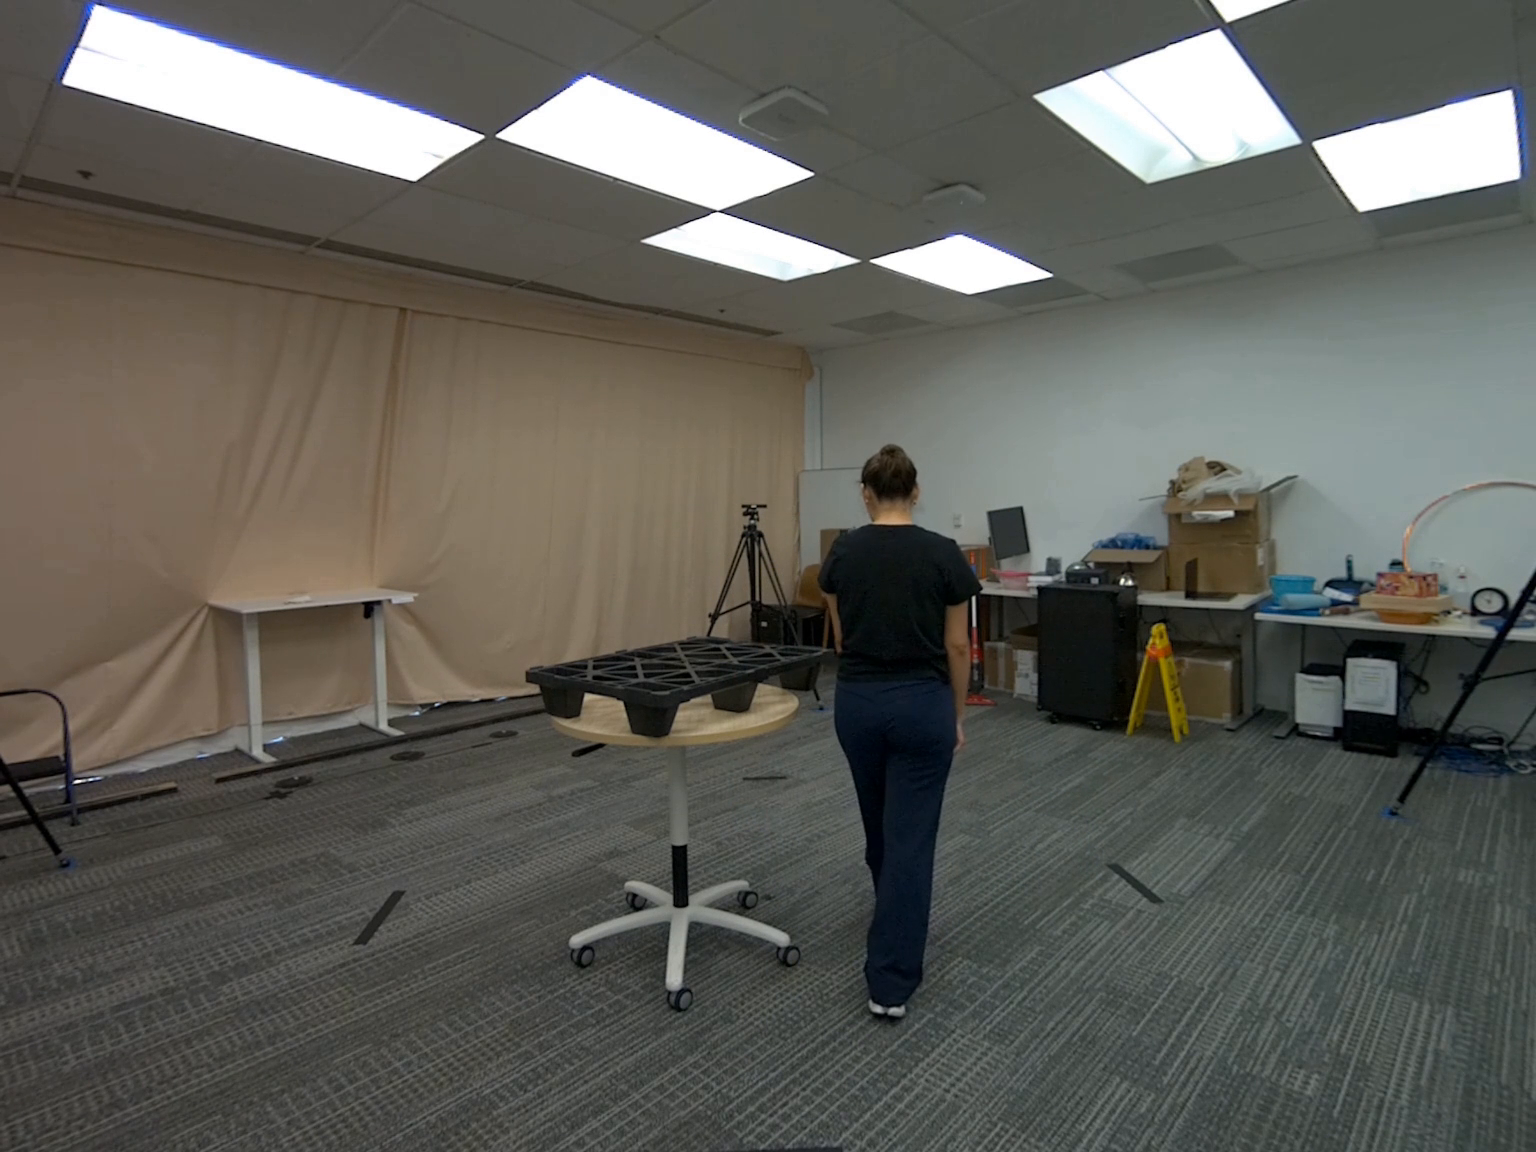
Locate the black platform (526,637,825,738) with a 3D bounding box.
[{"bbox_3d":[-0.250,0.331,2.638,0.625,0.143,0.781,2,5,40],"label":"black platform"}]
